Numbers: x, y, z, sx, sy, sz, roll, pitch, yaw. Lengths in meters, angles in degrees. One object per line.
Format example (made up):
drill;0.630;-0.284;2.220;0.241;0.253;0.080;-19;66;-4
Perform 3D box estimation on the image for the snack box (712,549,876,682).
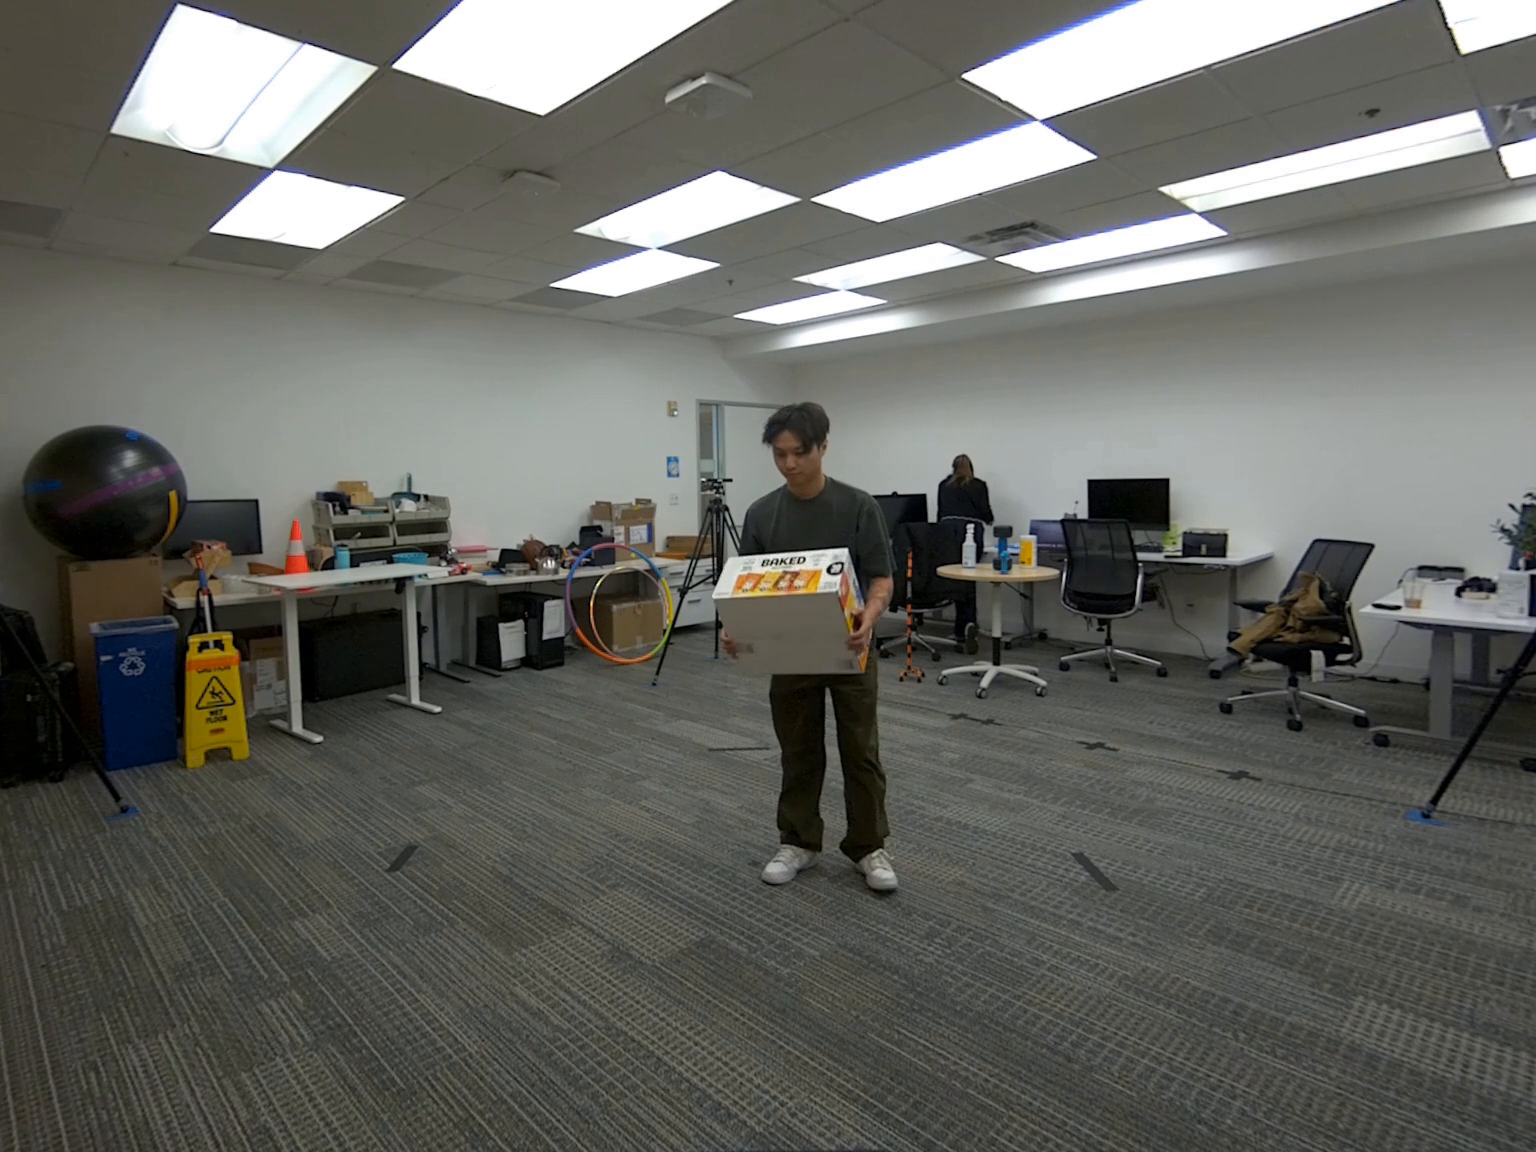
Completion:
snack box;0.089;0.130;2.712;0.413;0.329;0.208;-5;35;23
